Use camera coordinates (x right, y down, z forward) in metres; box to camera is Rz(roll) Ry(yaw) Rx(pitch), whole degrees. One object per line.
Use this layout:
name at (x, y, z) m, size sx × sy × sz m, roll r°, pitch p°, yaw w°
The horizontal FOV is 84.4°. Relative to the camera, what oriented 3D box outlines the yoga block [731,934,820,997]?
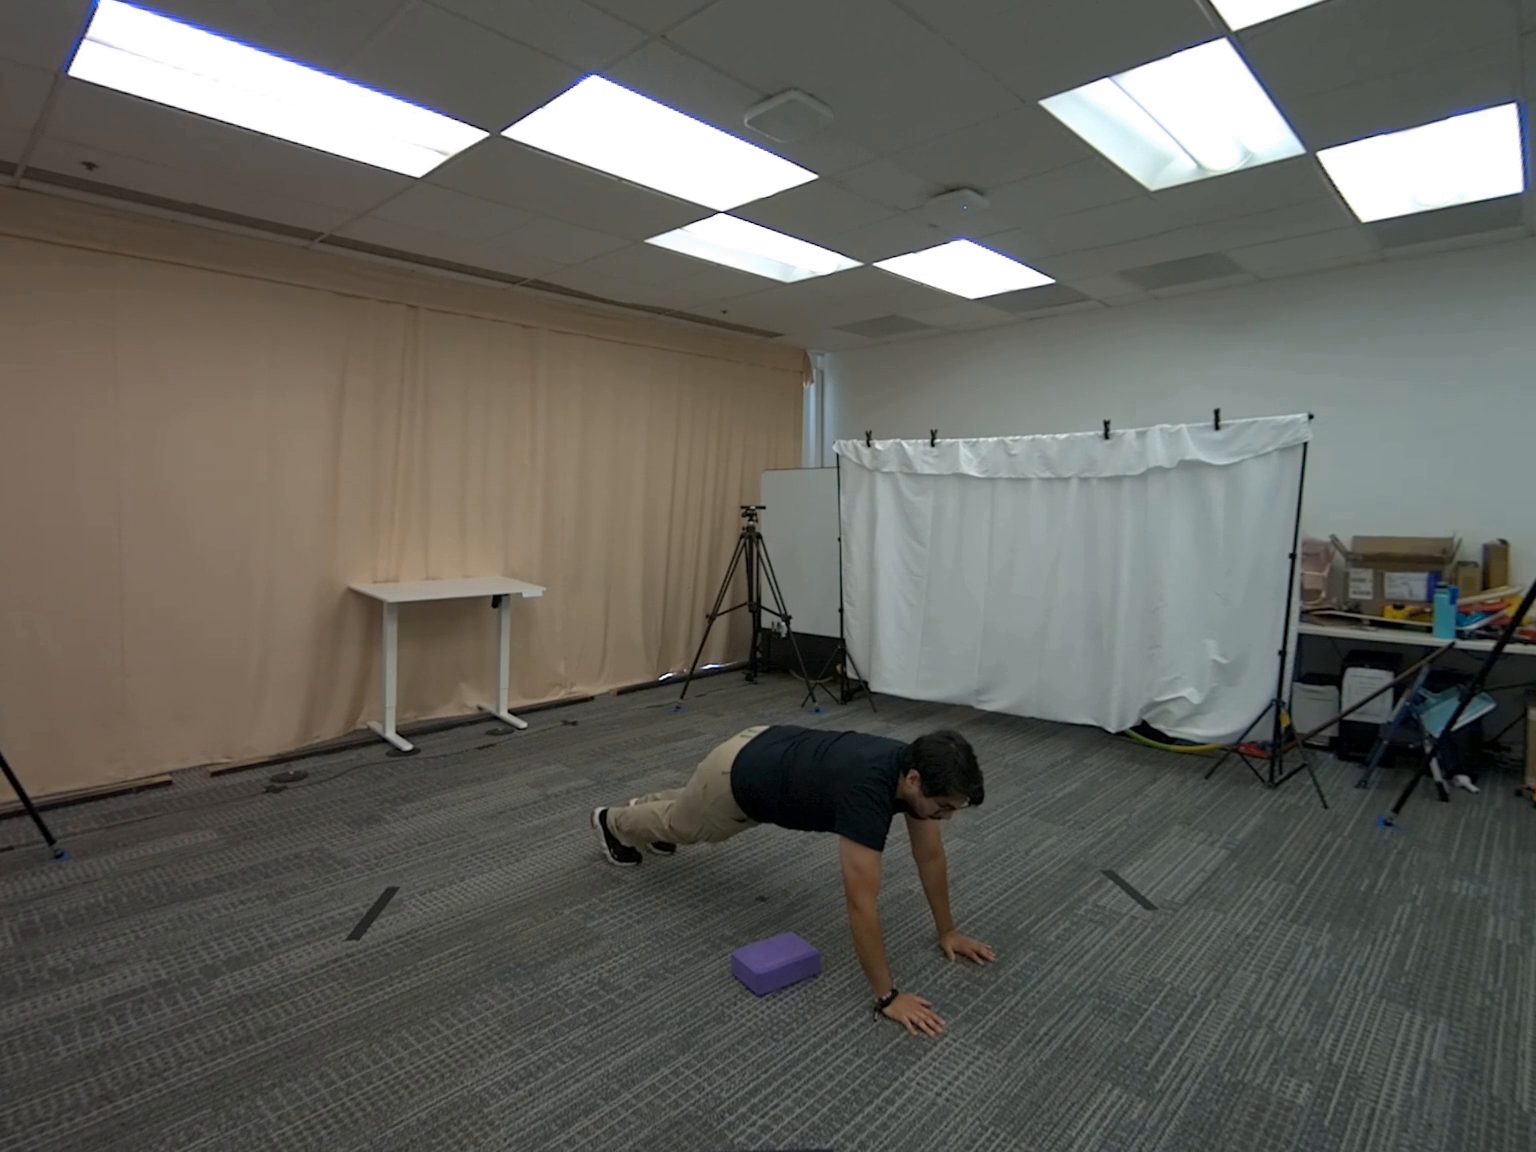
yoga block at (0.030, 1.142, 2.492) m, size 0.223 × 0.076 × 0.153 m, roll -4°, pitch 6°, yaw -33°
